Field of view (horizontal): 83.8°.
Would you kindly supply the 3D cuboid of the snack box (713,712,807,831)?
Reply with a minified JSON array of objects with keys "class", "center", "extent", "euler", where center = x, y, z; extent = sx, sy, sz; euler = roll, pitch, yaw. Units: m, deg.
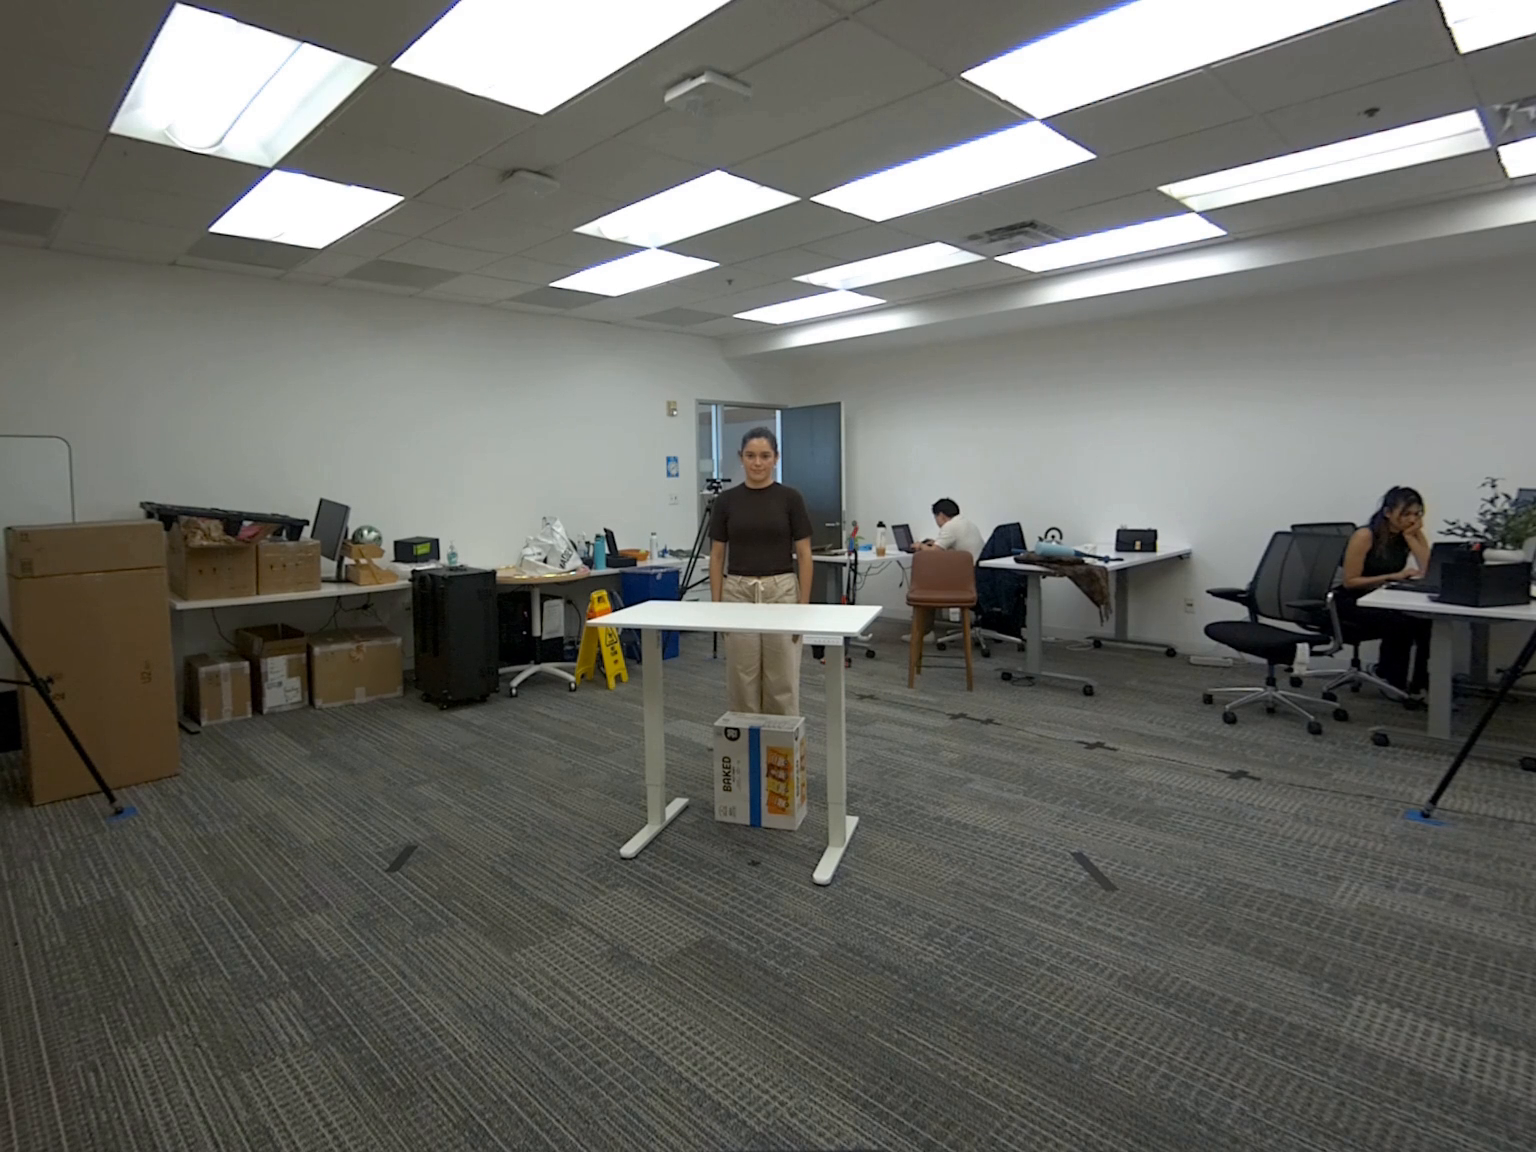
[{"class":"snack box","center":[-0.031,0.796,3.515],"extent":[0.346,0.403,0.203],"euler":[0,6,18]}]
